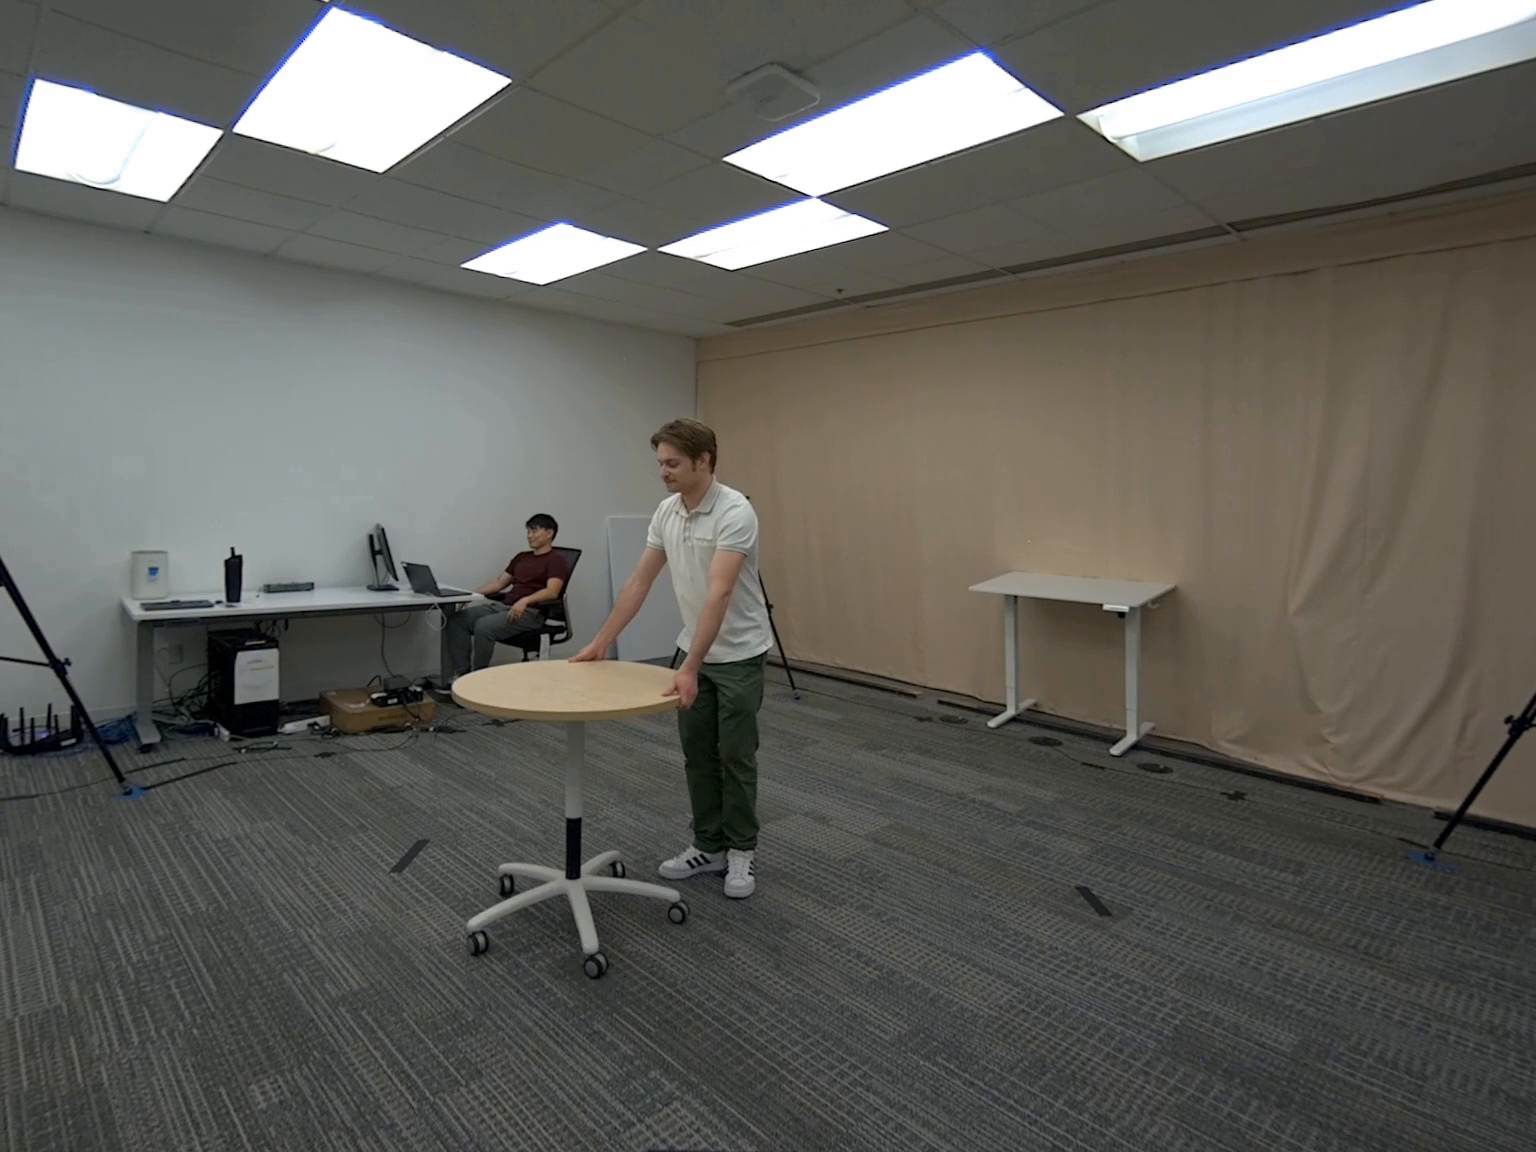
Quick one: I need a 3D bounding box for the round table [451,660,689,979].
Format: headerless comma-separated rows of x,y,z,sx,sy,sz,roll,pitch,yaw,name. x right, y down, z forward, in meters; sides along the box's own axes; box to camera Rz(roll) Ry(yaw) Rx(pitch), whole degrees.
-0.634,0.738,2.739,0.763,0.792,0.766,1,4,-1,round table
